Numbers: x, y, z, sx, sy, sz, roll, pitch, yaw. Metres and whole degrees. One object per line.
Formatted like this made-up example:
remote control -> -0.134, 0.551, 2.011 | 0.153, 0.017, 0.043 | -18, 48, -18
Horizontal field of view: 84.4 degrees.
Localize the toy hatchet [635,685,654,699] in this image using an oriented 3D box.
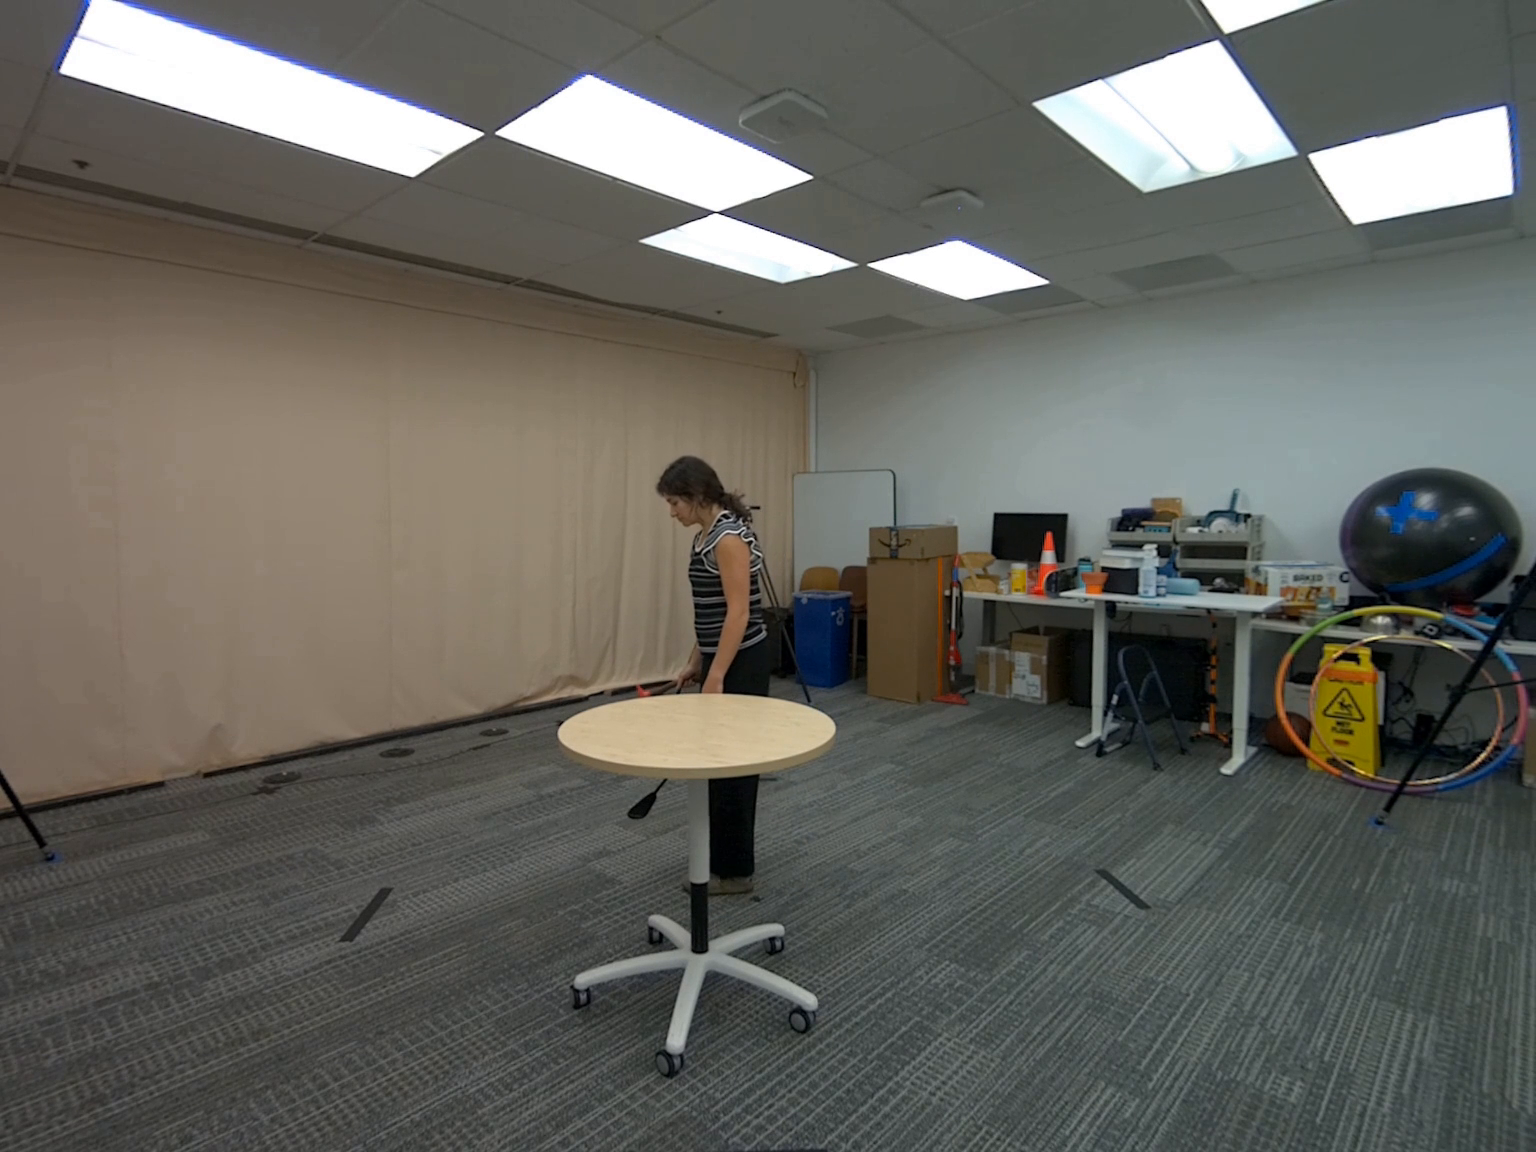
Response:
toy hatchet -> -0.375, 0.471, 3.309 | 0.271, 0.129, 0.030 | -7, 22, 5
